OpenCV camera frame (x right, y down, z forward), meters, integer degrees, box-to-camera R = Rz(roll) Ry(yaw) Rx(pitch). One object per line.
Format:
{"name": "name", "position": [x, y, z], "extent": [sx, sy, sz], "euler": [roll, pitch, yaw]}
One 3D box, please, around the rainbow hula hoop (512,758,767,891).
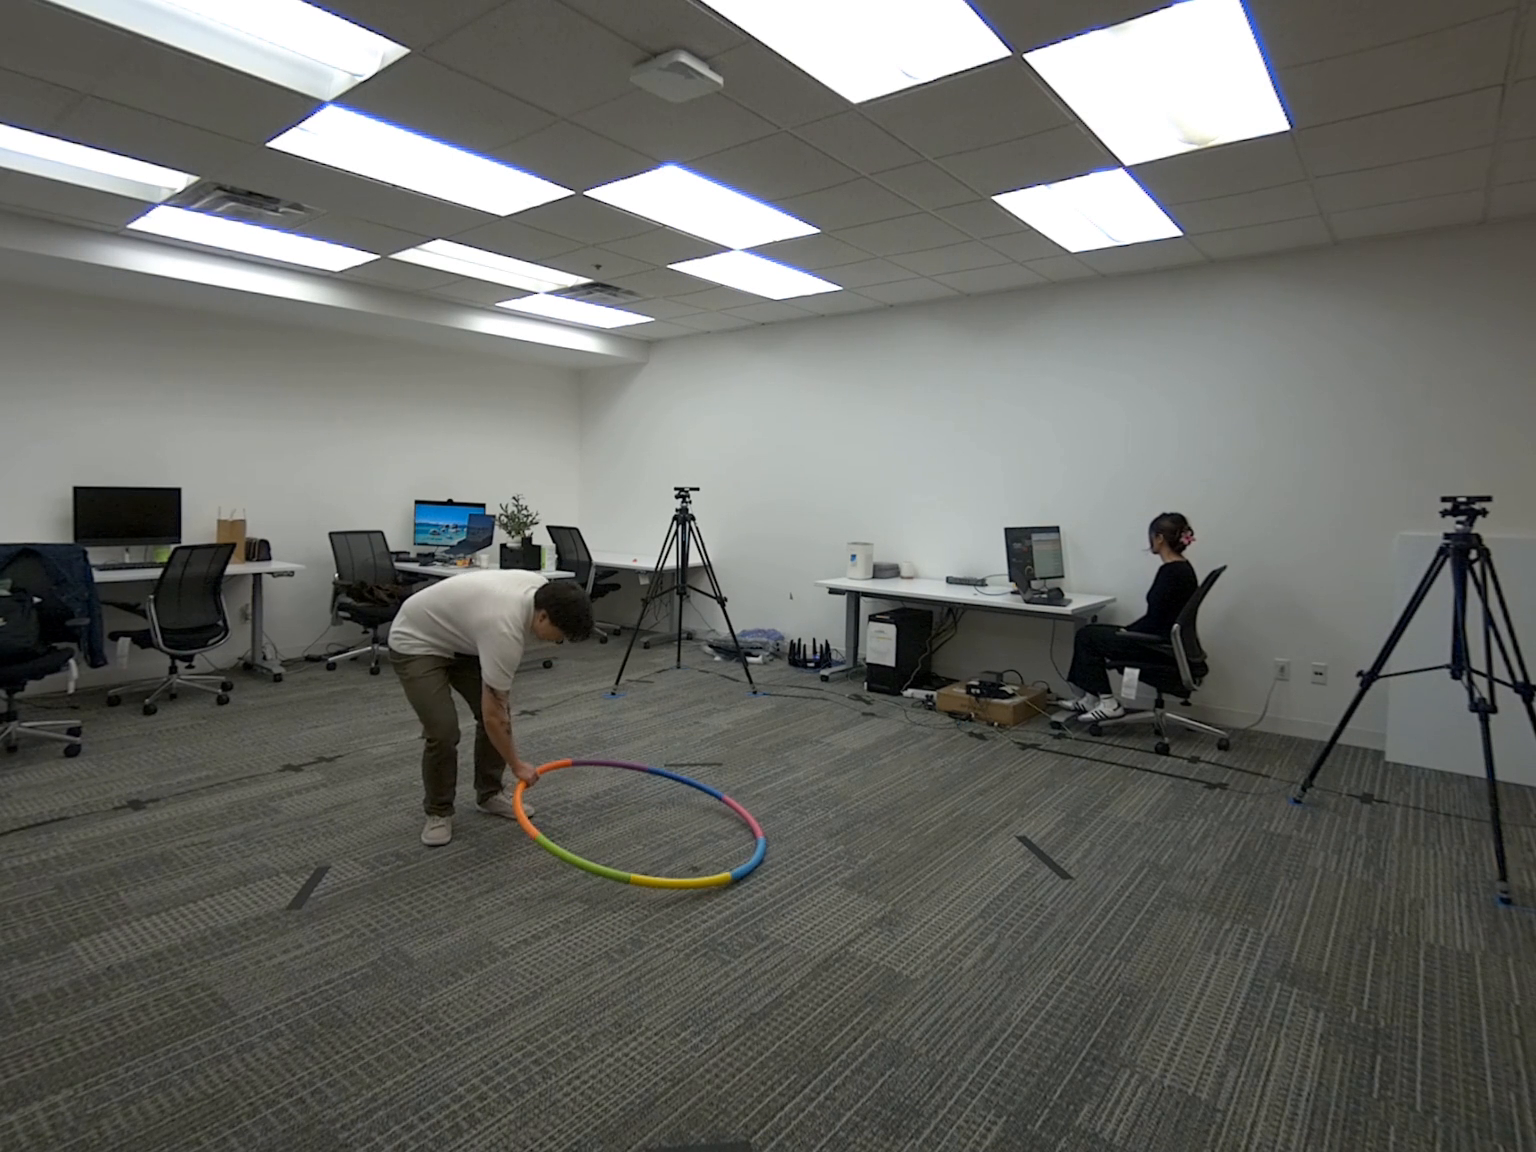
{"name": "rainbow hula hoop", "position": [-0.504, 0.913, 3.300], "extent": [0.976, 0.035, 0.987], "euler": [12, 8, -3]}
